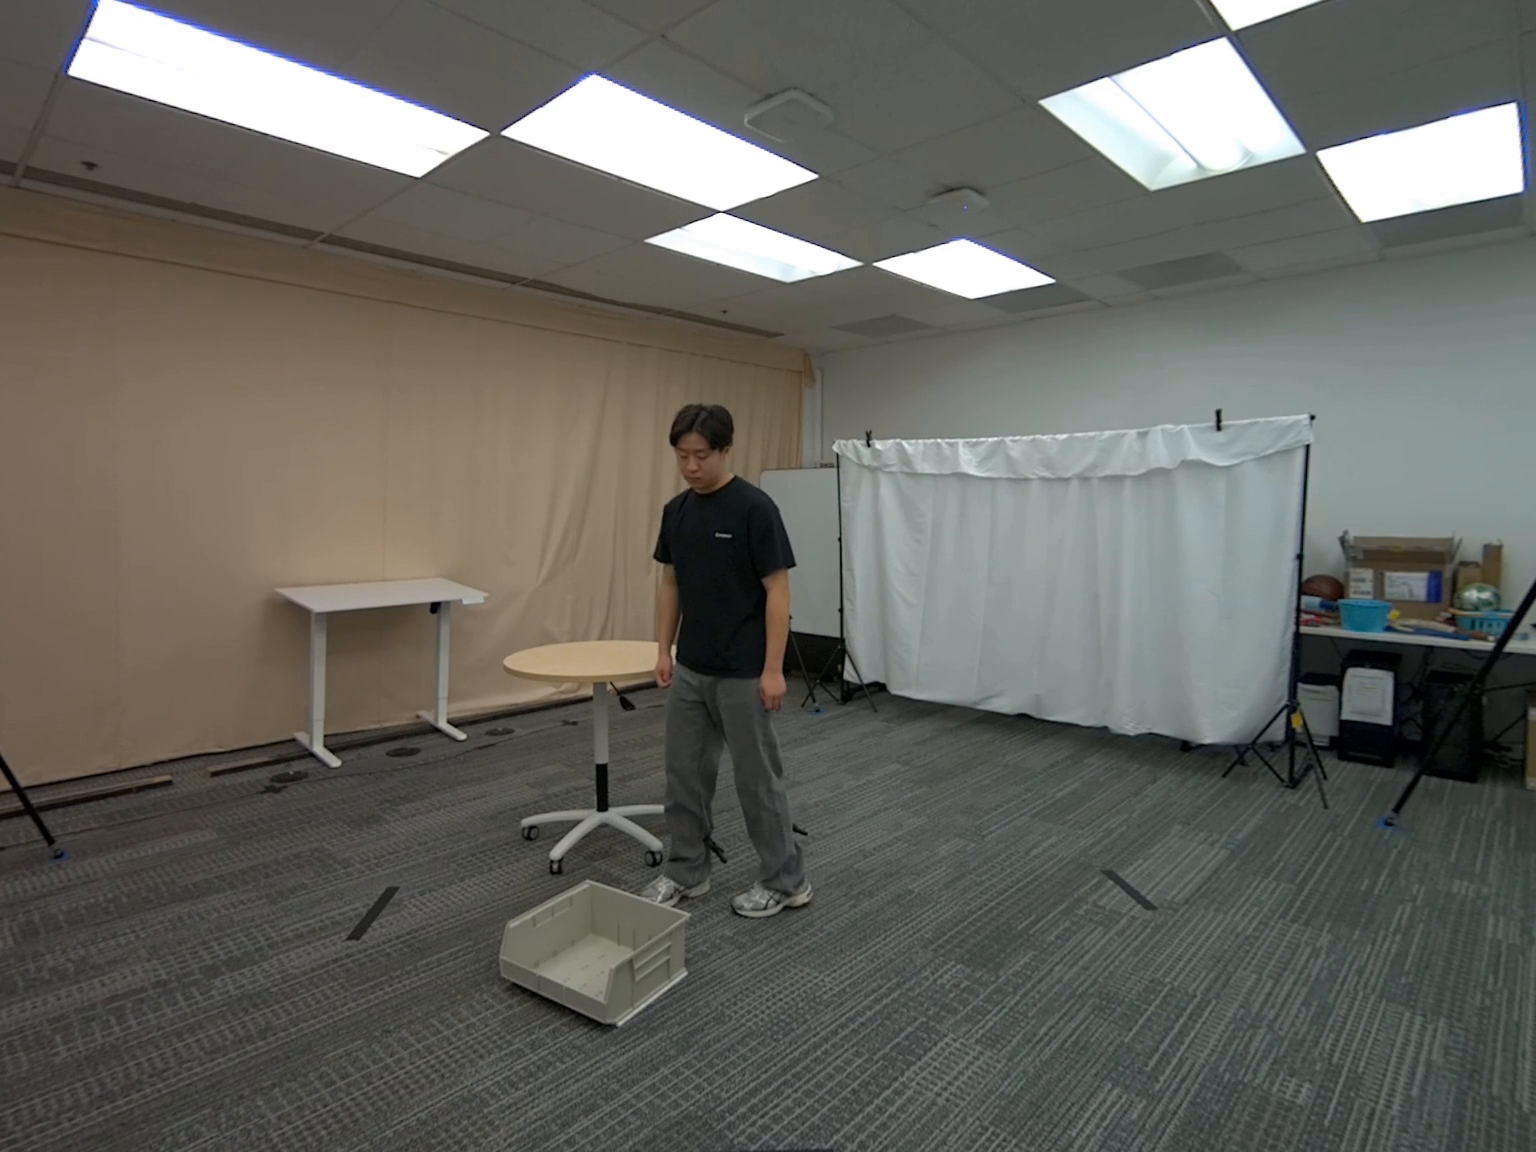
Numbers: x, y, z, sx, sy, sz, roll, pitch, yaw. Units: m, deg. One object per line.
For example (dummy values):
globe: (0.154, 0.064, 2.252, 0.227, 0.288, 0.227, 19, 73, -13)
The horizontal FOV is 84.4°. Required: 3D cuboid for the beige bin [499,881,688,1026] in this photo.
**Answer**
beige bin: (-0.503, 1.099, 2.472, 0.435, 0.188, 0.367, 2, 4, 33)
